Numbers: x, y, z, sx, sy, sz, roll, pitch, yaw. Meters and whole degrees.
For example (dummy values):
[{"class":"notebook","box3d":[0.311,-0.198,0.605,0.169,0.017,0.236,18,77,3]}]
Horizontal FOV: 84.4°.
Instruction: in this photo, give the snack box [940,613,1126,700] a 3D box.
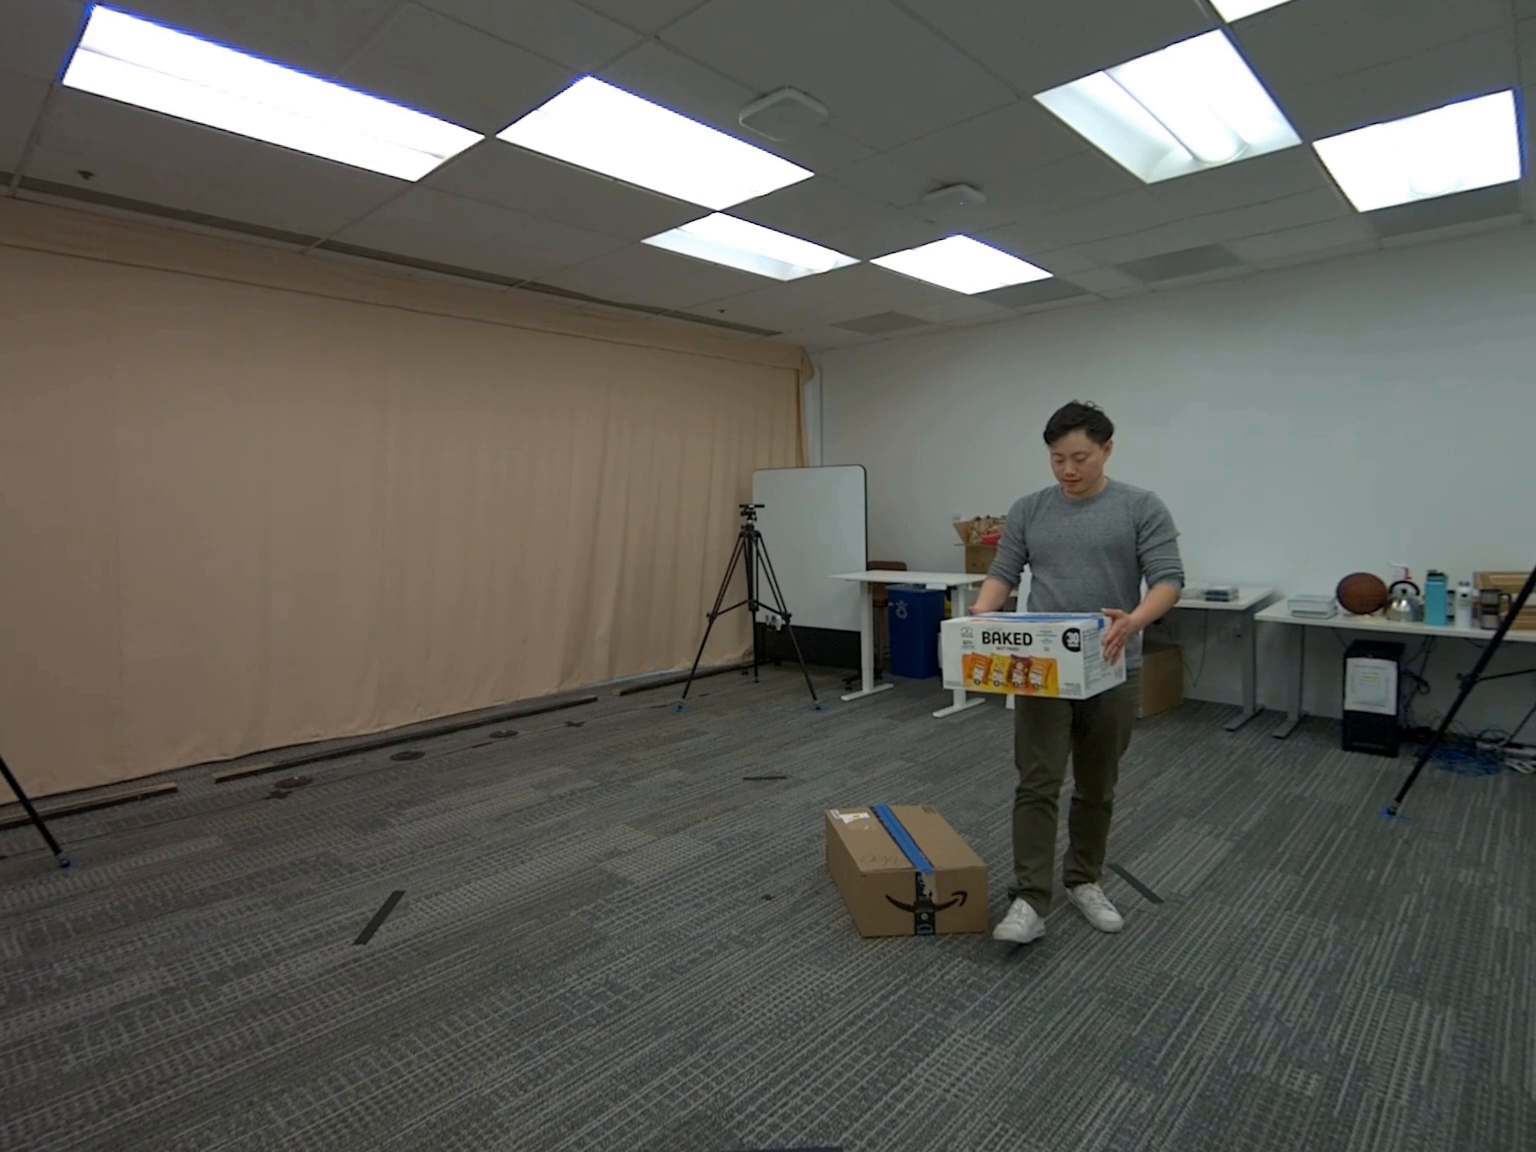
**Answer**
[{"class":"snack box","box3d":[0.788,0.231,2.483,0.418,0.205,0.330,-2,2,41]}]
